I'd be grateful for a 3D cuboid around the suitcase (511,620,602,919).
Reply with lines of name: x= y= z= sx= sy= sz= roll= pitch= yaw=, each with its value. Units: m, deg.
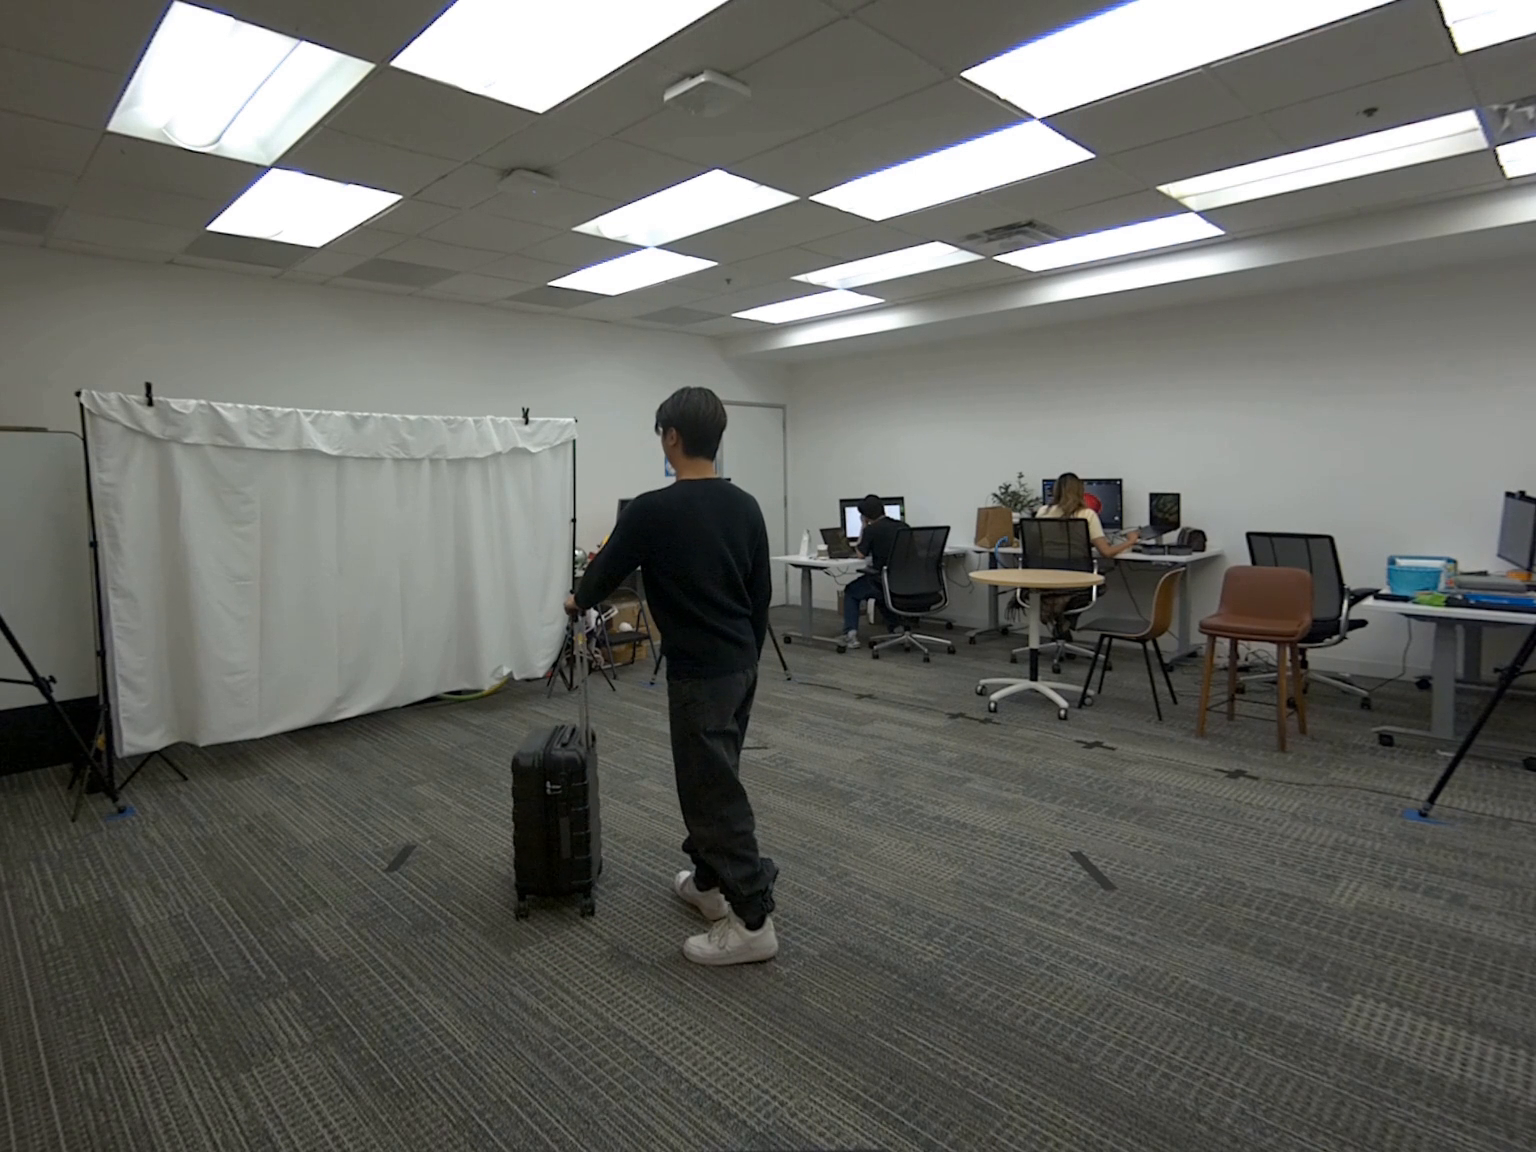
suitcase: x=-0.719 y=0.602 z=2.897 sx=0.256 sy=0.976 sz=0.386 roll=-3 pitch=2 yaw=-4
